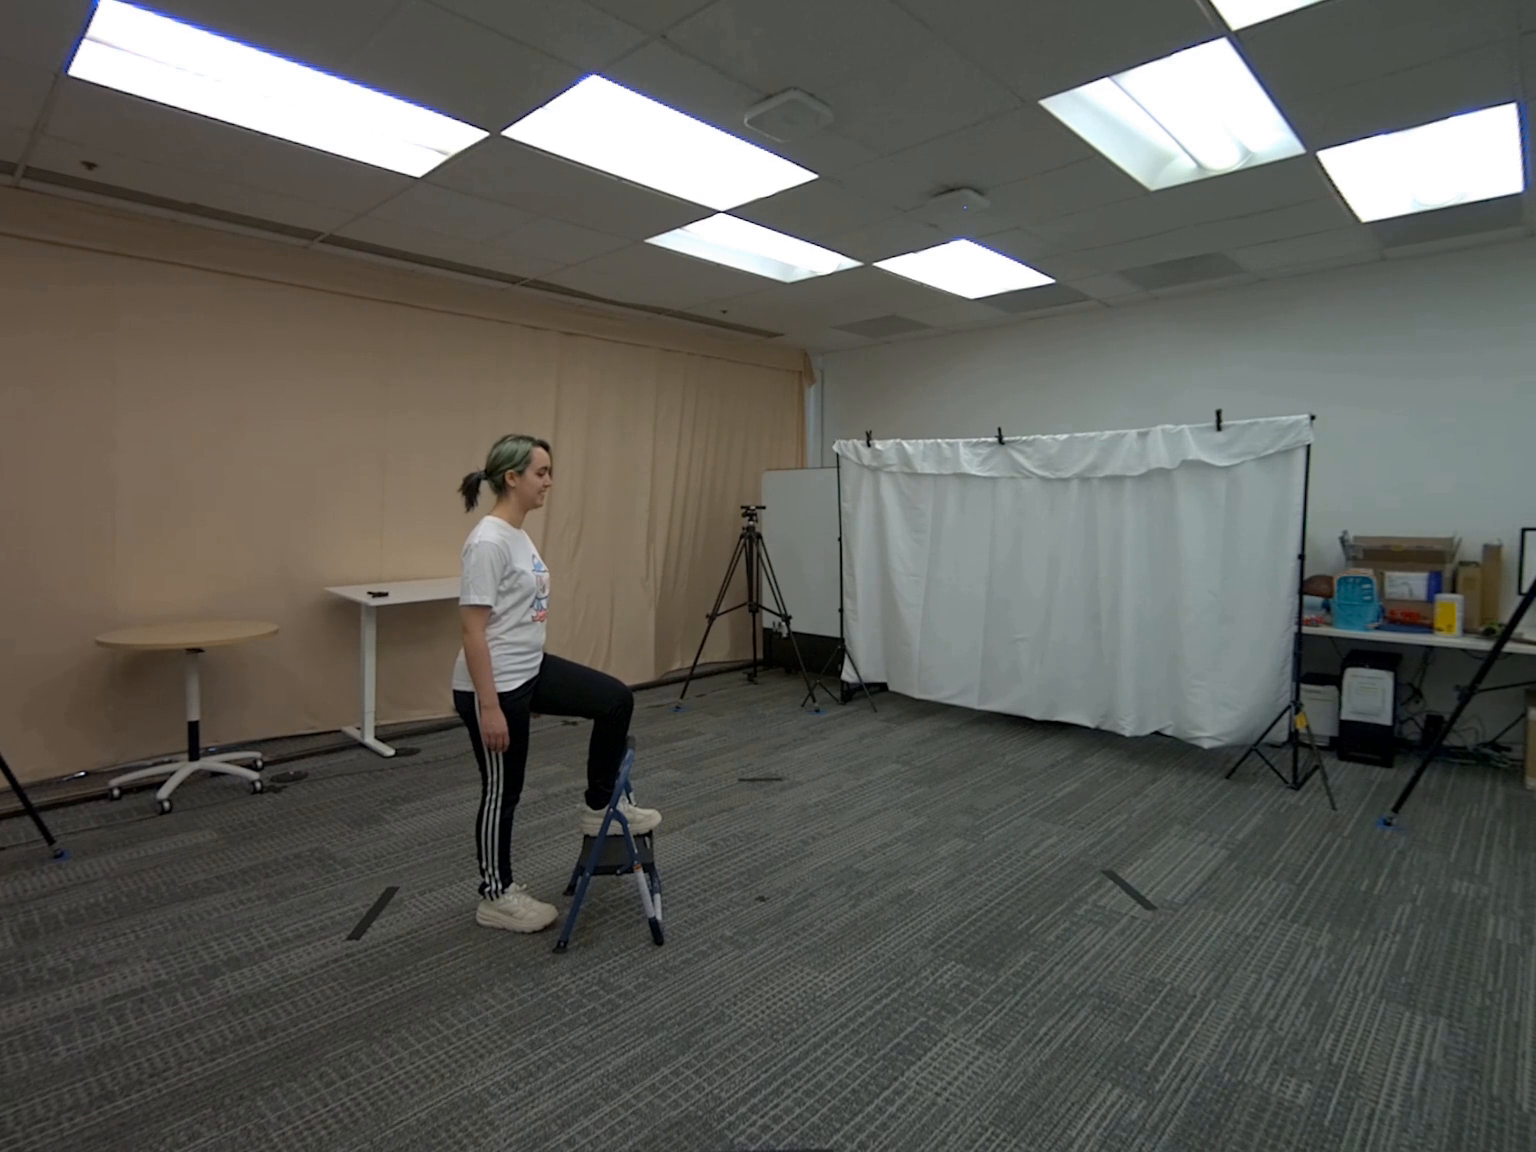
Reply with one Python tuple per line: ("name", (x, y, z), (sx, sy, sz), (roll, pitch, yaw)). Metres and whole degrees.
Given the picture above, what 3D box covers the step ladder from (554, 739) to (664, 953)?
("step ladder", (-0.533, 0.865, 2.834), (0.346, 0.605, 0.435), (-1, 3, -9))
